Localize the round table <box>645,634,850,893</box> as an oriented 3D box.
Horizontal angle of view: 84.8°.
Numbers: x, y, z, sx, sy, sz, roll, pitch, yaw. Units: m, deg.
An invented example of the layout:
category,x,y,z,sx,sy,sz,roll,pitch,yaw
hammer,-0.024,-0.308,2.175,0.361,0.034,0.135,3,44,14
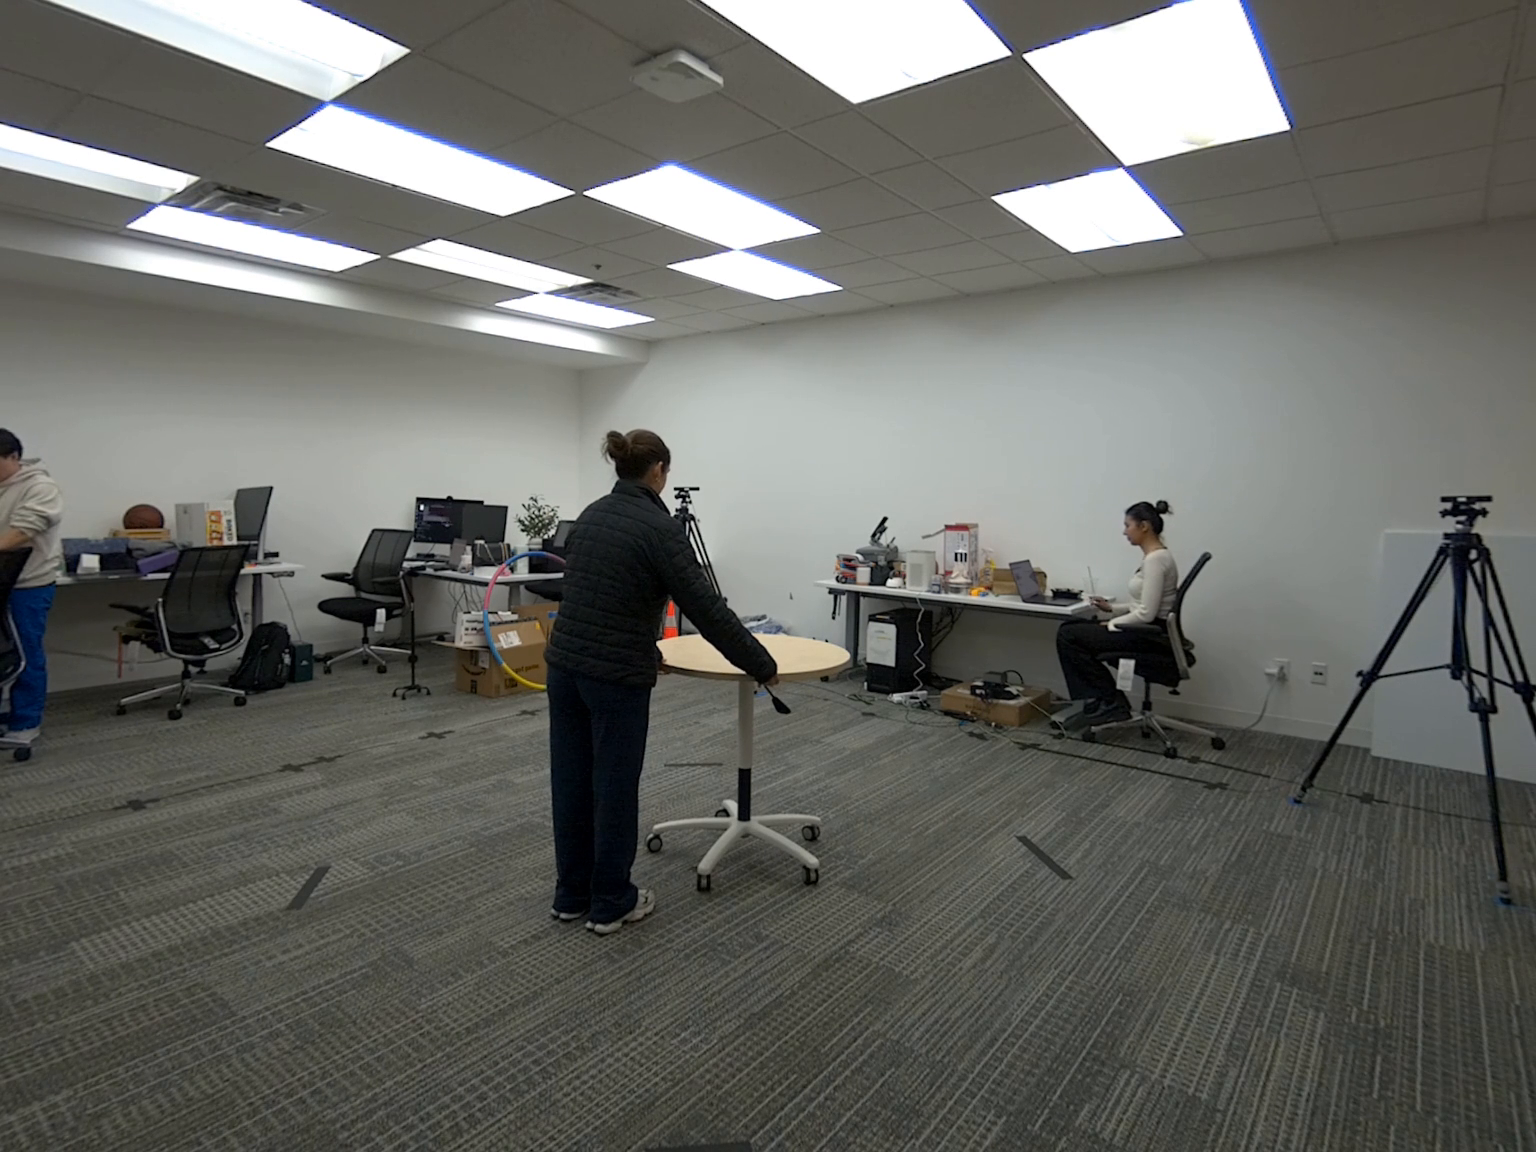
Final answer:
category,x,y,z,sx,sy,sz,roll,pitch,yaw
round table,-0.086,0.666,3.205,0.784,0.784,0.789,1,4,-2
